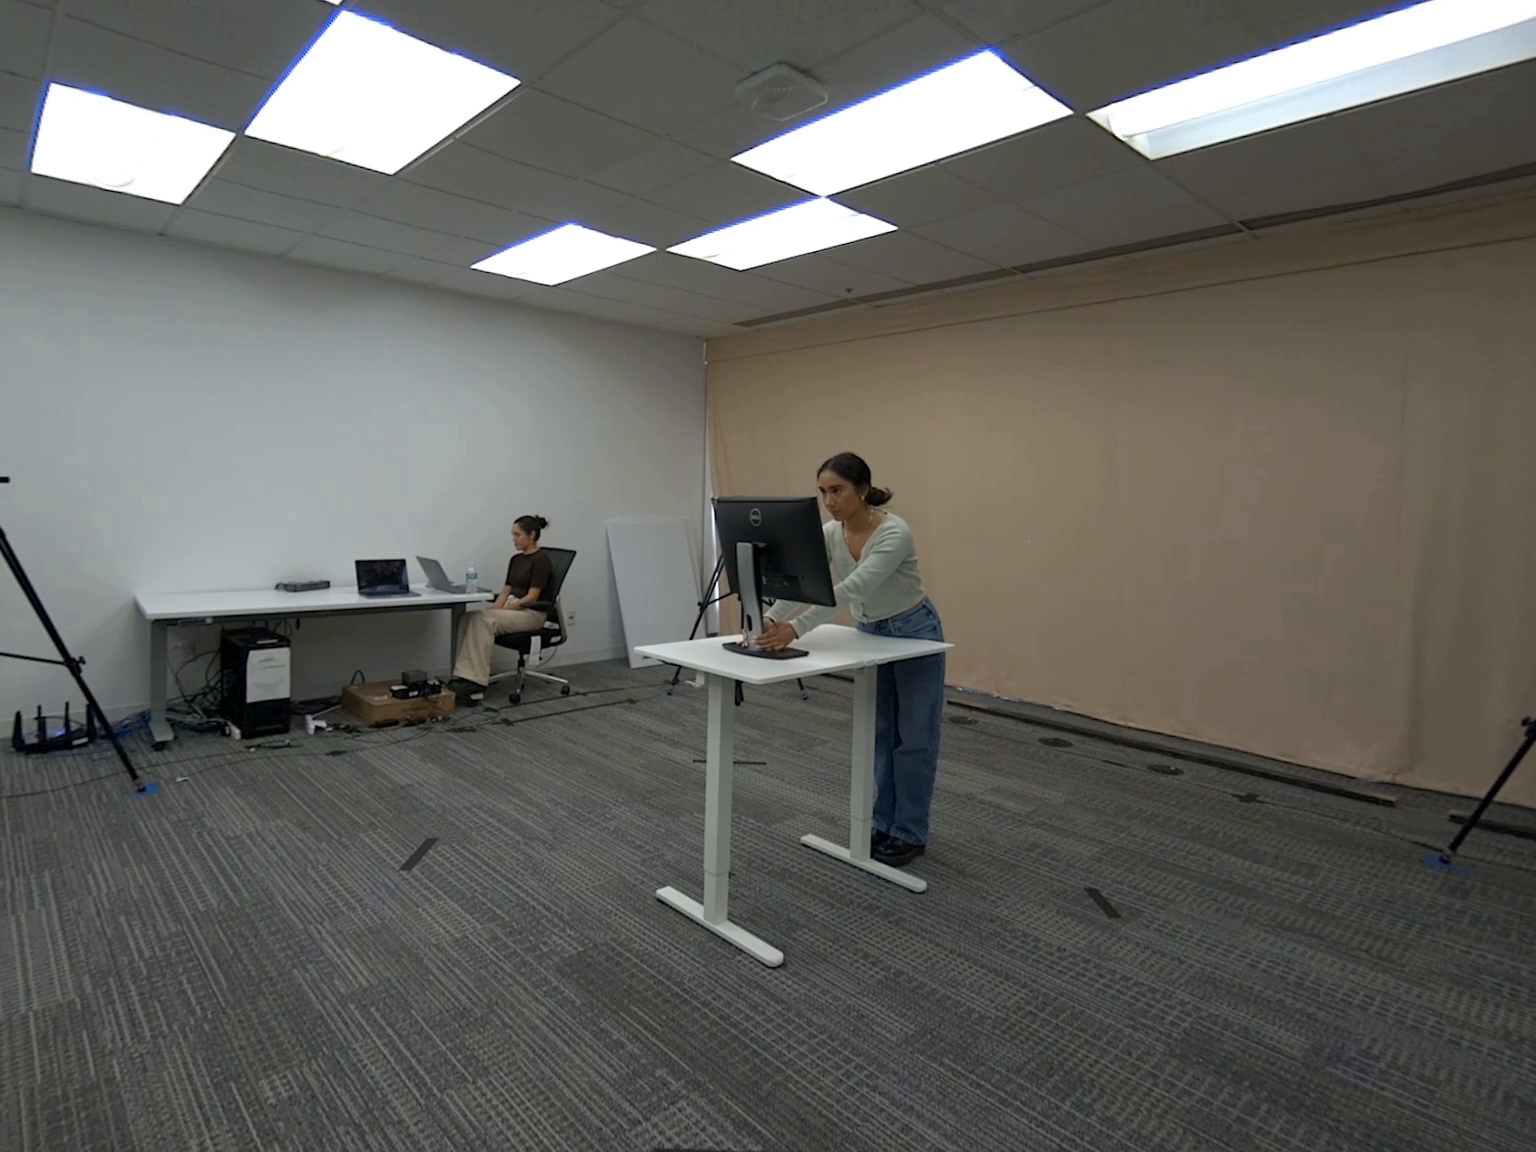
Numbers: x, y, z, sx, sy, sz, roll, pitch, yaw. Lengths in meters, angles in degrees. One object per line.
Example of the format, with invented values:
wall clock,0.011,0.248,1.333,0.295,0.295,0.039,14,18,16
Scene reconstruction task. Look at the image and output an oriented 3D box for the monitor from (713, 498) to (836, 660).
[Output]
monitor,-0.025,0.001,2.760,0.183,0.521,0.552,-3,5,-39
